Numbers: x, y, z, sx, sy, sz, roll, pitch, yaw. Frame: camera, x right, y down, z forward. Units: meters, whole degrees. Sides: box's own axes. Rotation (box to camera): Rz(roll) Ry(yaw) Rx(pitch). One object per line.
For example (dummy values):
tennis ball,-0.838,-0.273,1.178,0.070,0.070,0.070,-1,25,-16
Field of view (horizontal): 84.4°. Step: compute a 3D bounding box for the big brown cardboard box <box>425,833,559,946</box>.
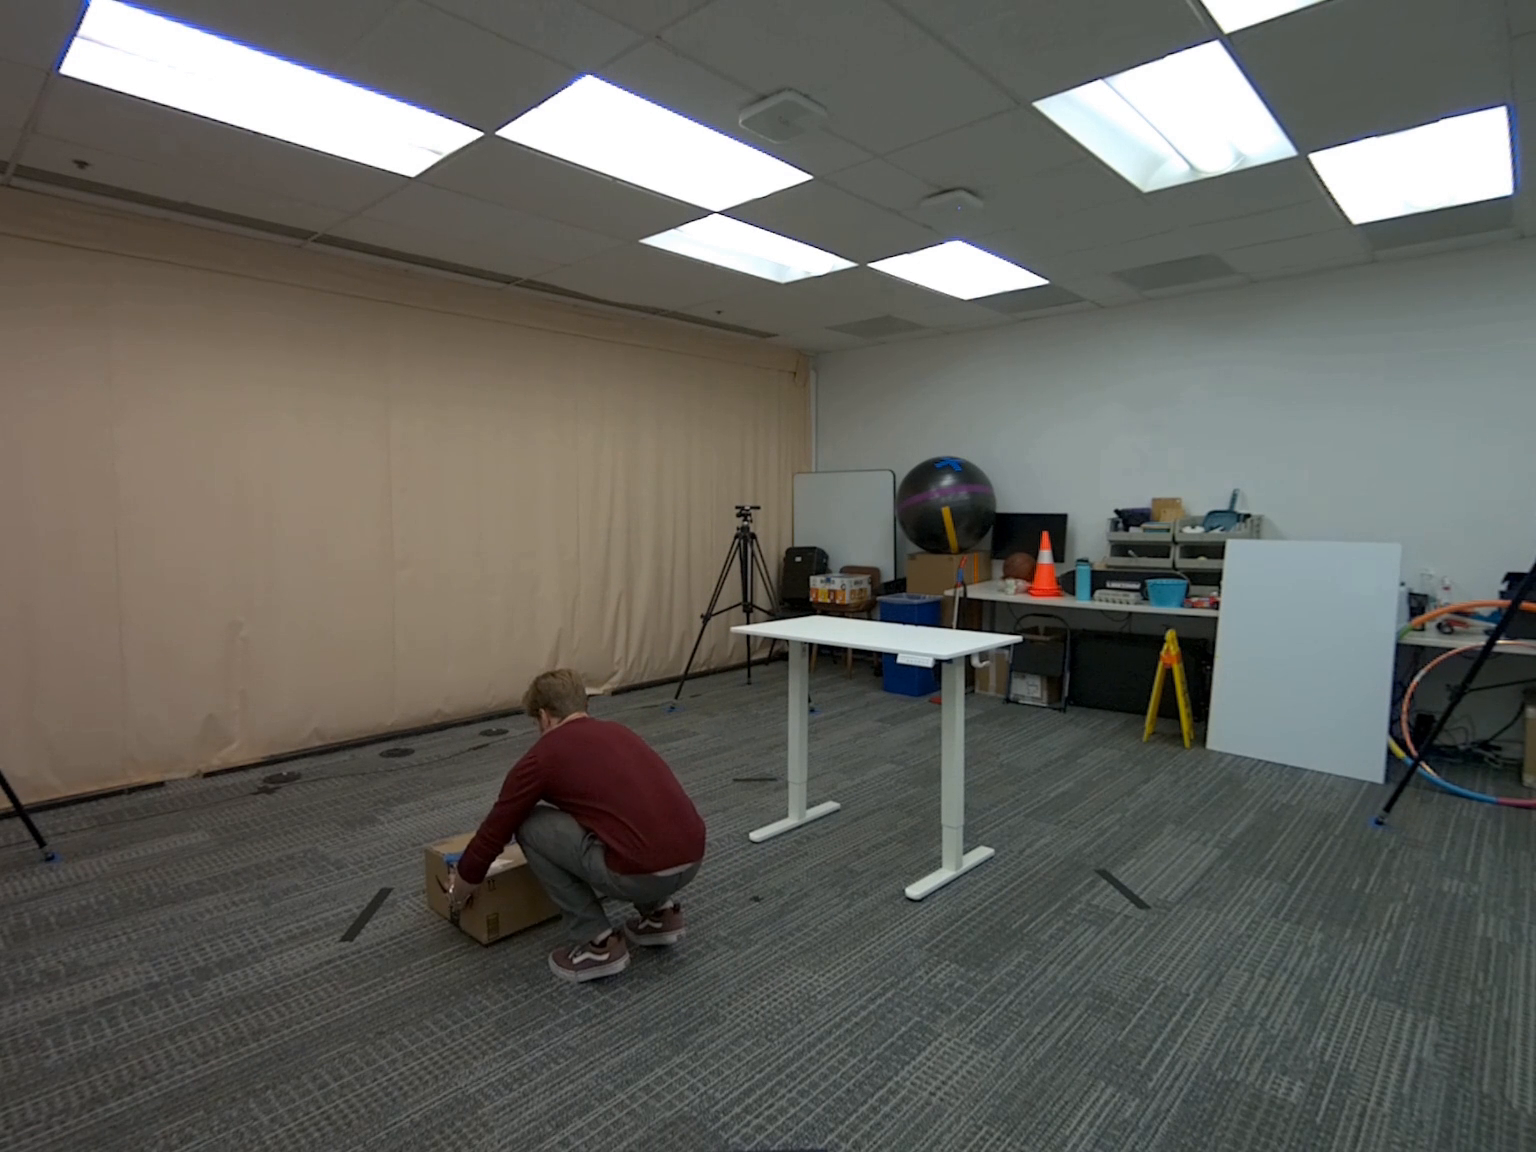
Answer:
big brown cardboard box,-0.865,1.035,2.985,0.431,0.233,0.571,0,3,44
